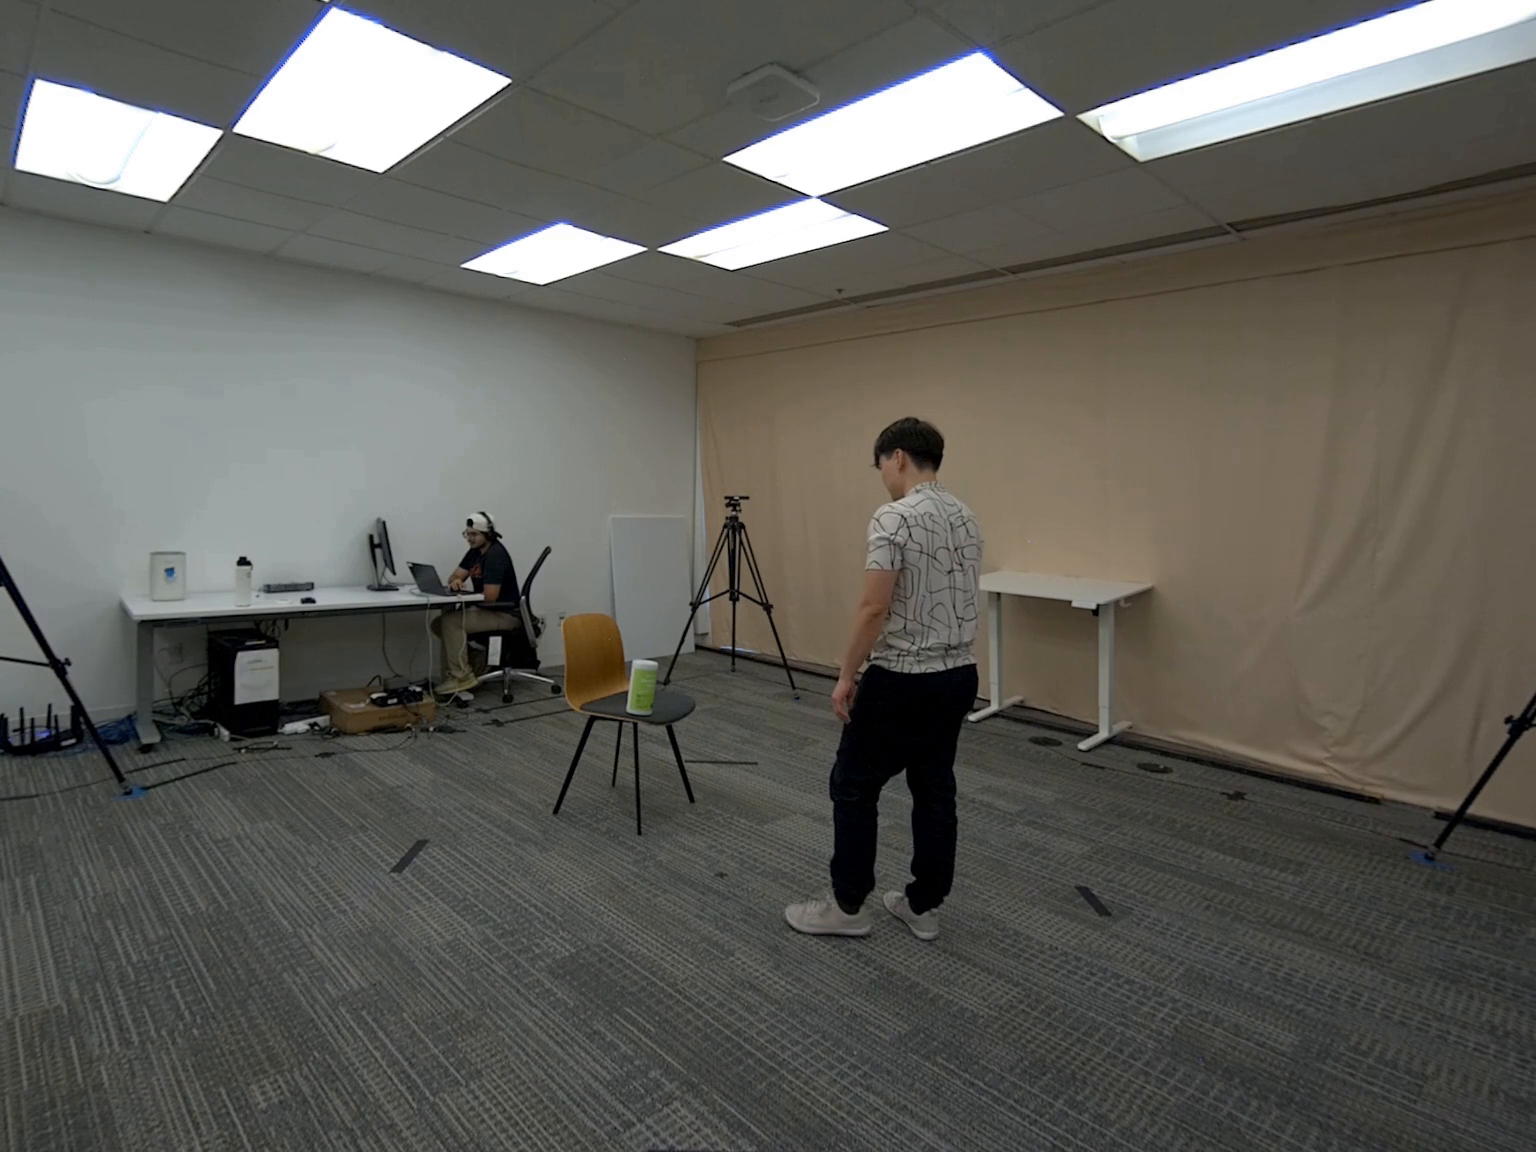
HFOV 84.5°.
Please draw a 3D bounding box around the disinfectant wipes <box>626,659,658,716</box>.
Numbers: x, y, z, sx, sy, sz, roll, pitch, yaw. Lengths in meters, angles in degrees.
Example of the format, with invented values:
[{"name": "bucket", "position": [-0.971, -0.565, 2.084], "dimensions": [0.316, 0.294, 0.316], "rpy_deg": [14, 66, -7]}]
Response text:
[{"name": "disinfectant wipes", "position": [-0.534, 0.464, 3.499], "dimensions": [0.118, 0.217, 0.118], "rpy_deg": [8, 0, -1]}]
